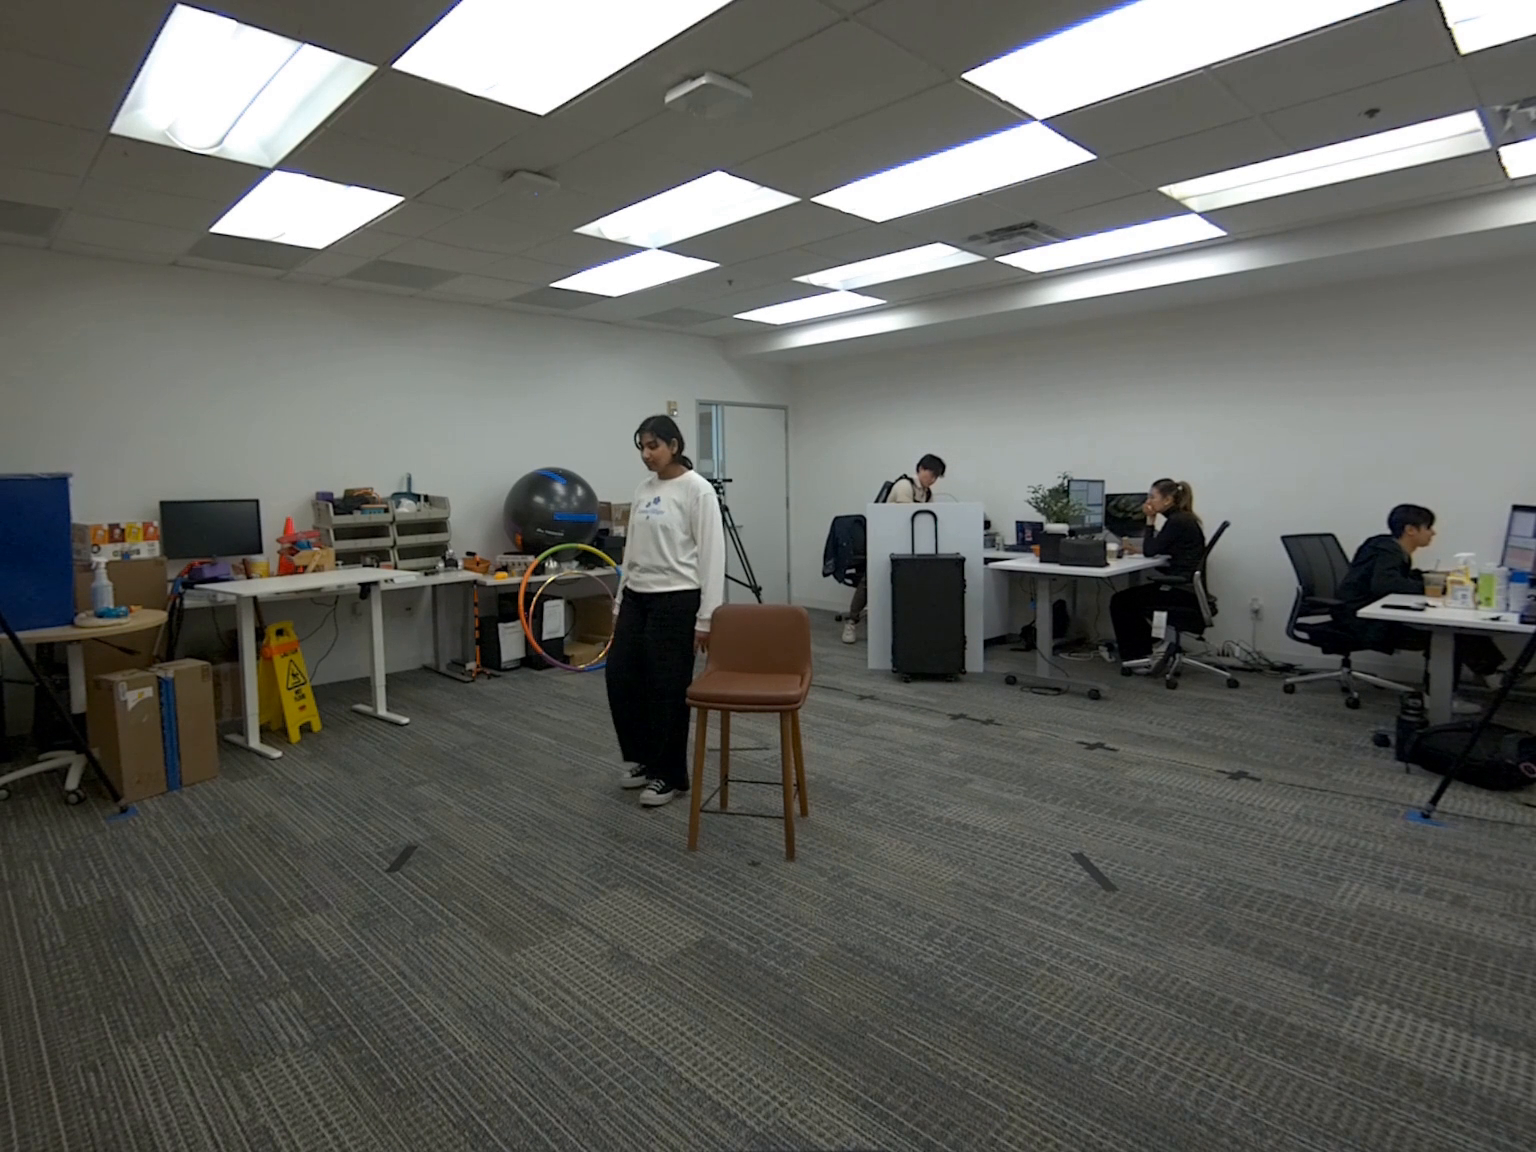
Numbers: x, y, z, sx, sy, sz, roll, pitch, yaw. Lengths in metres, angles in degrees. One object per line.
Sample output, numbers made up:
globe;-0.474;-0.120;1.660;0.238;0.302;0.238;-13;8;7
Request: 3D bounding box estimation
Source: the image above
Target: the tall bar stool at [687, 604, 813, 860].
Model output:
tall bar stool;-0.064;0.581;3.367;0.463;0.888;0.462;0;2;14
